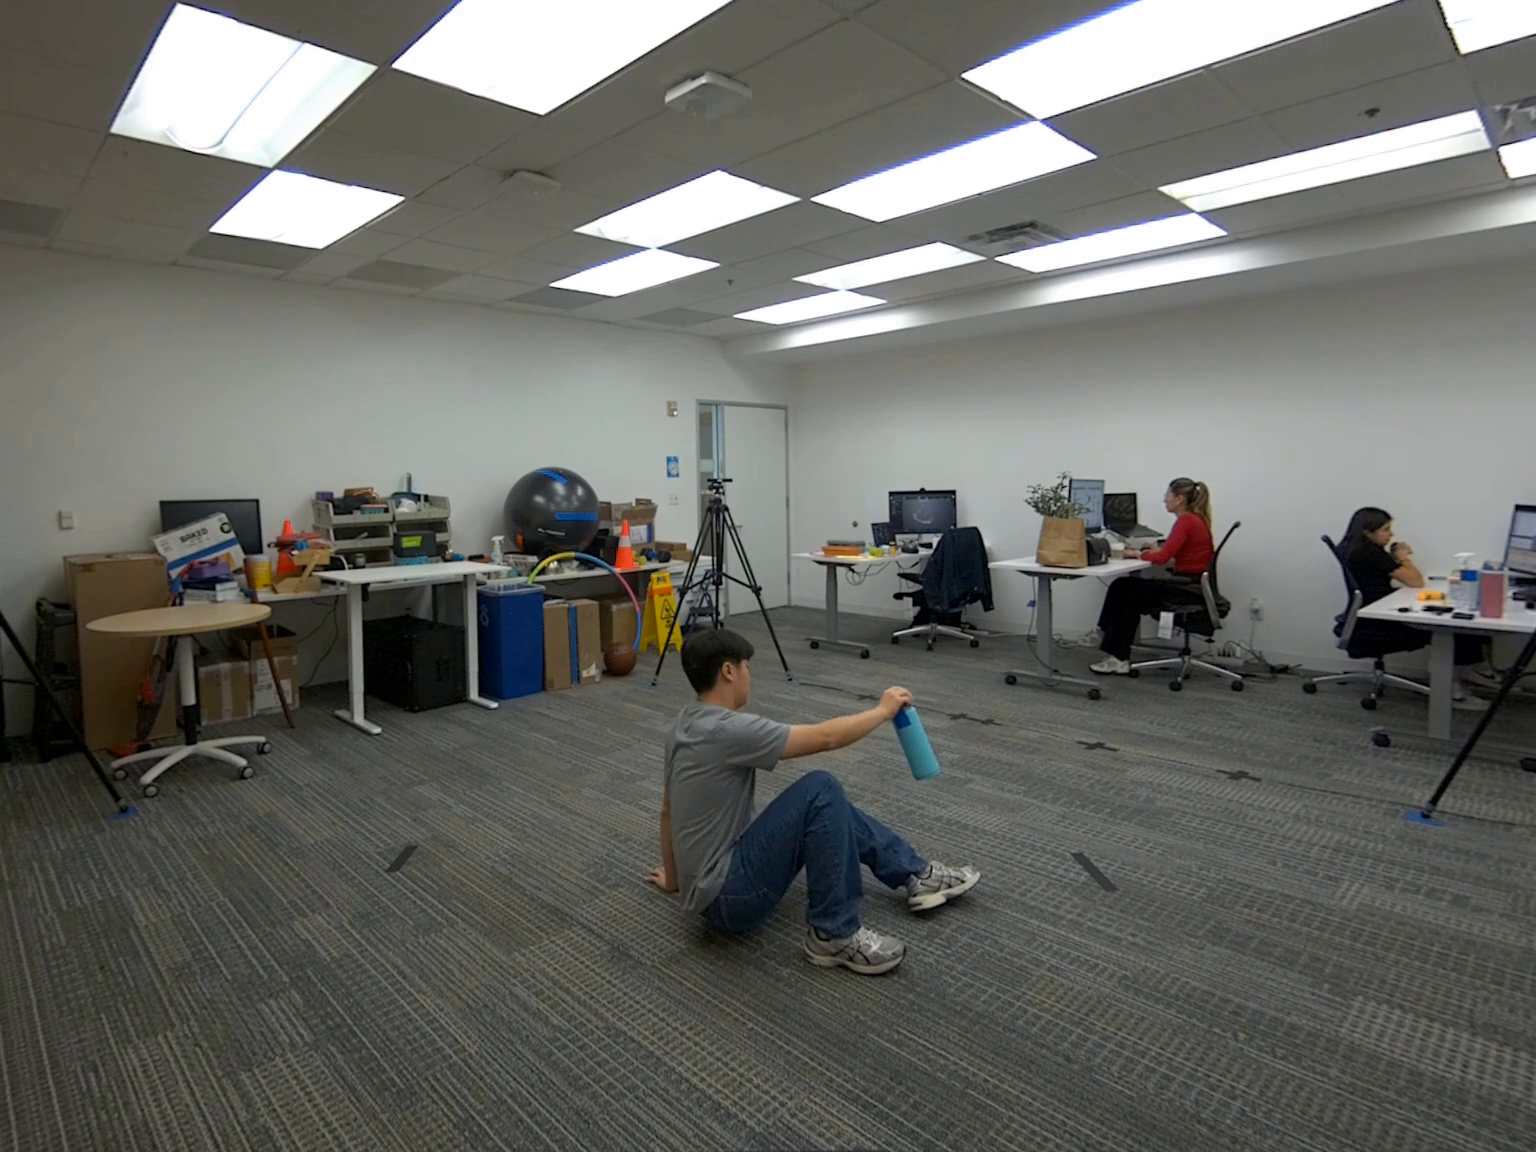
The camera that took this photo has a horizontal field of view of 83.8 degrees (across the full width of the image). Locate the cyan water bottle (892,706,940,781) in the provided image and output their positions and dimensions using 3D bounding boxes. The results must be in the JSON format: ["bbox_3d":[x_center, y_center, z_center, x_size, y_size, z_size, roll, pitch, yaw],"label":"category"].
[{"bbox_3d":[0.474,0.527,2.824,0.092,0.286,0.091,-19,-9,-4],"label":"cyan water bottle"}]
